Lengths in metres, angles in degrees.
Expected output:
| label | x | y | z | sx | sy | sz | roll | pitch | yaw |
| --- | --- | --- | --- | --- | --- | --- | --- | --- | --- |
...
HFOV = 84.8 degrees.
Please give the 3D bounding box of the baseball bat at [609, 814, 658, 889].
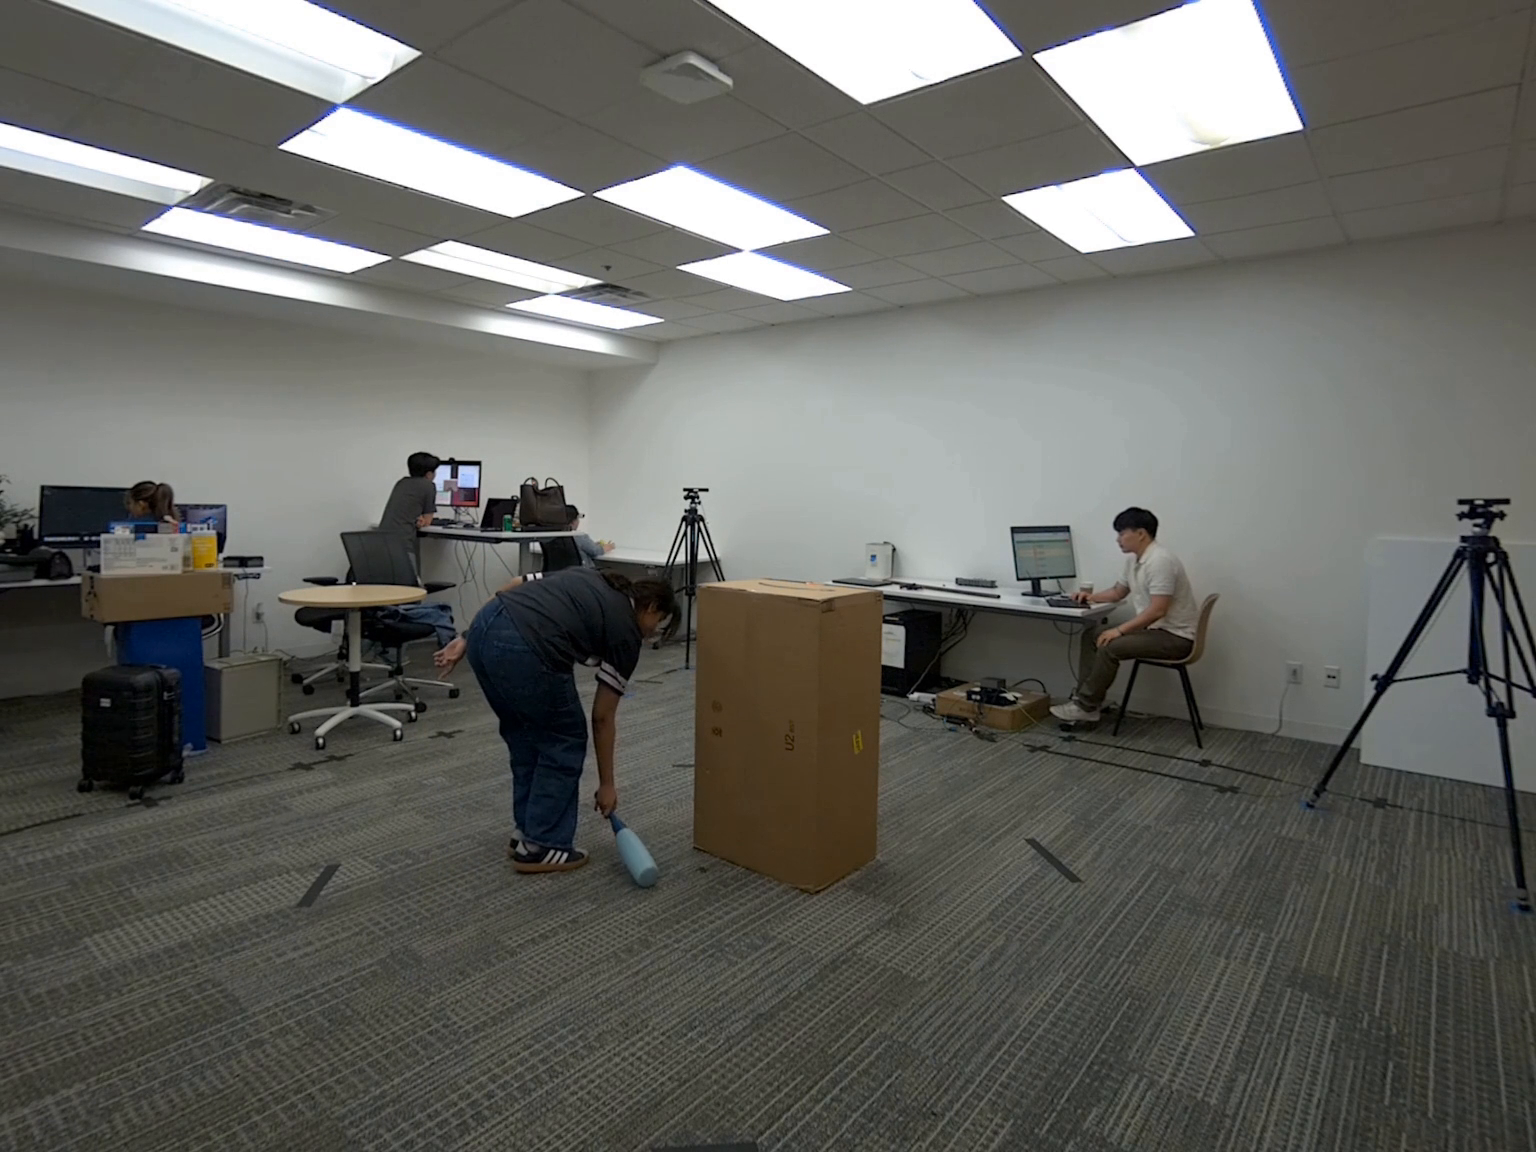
| label | x | y | z | sx | sy | sz | roll | pitch | yaw |
| --- | --- | --- | --- | --- | --- | --- | --- | --- | --- |
| baseball bat | -0.532 | 0.973 | 3.179 | 0.087 | 0.088 | 0.560 | -1 | 15 | -22 |
